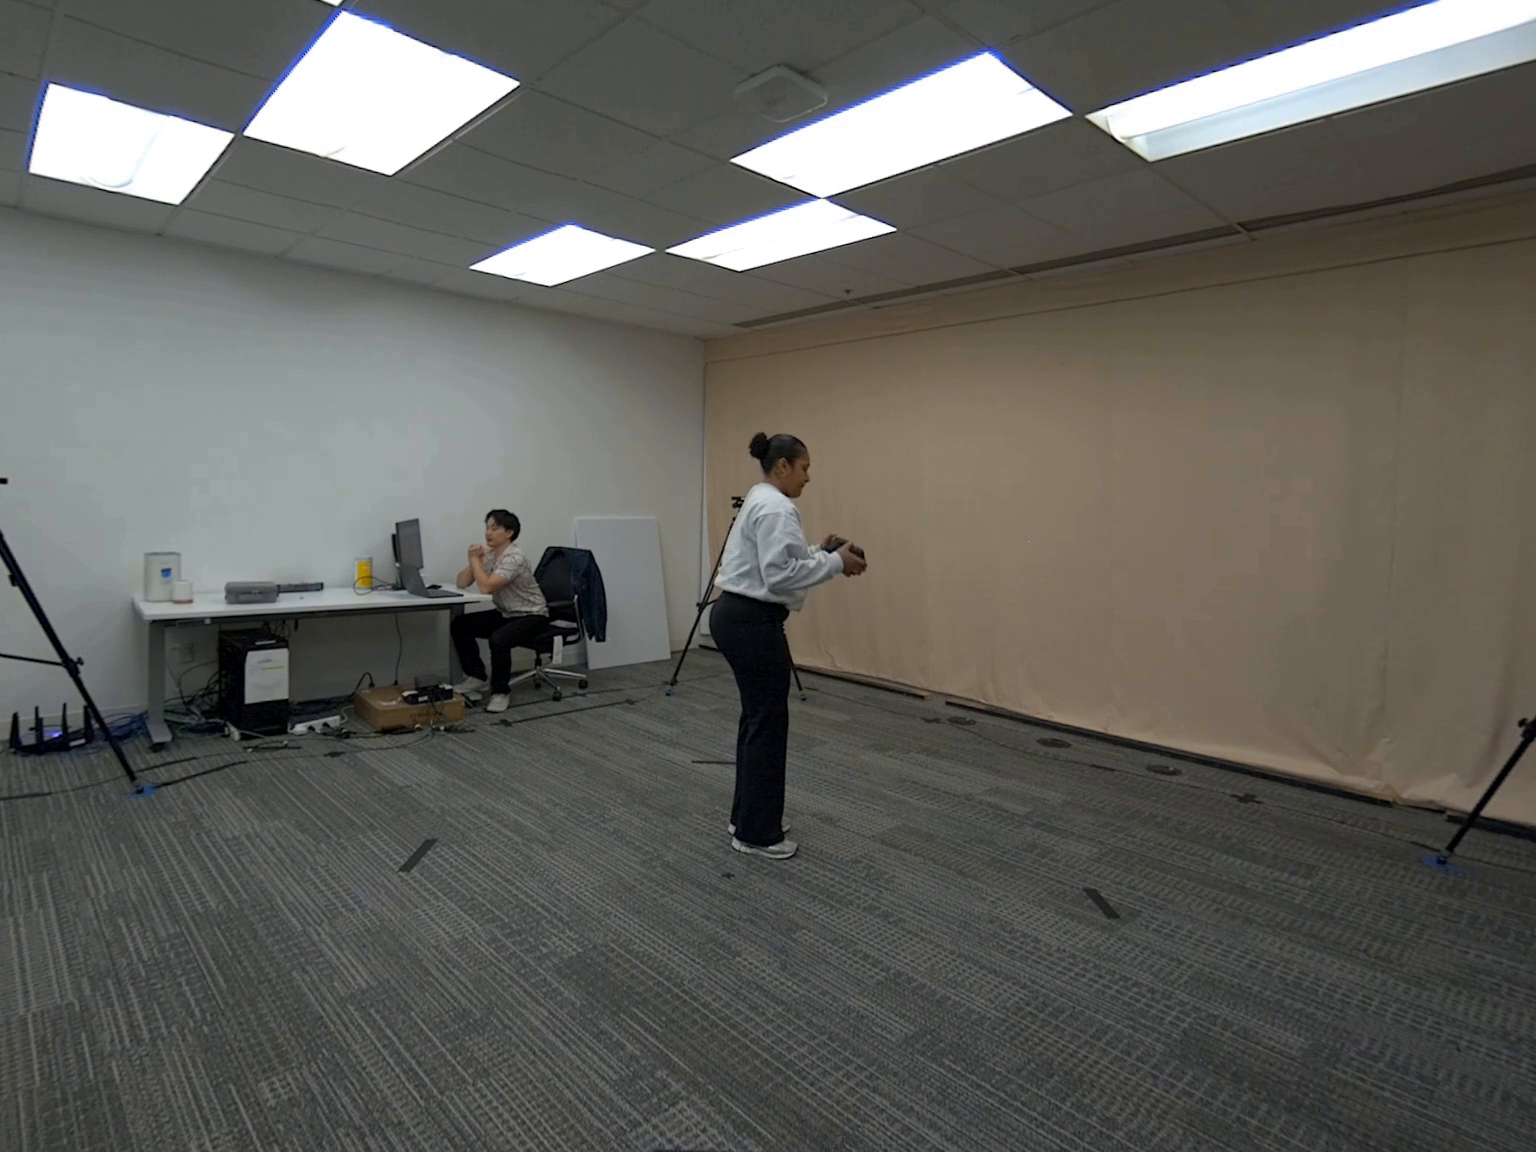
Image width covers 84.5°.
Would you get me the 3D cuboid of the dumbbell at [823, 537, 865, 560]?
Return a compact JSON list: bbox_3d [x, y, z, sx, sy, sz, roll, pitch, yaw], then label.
[{"bbox_3d":[0.269,-0.073,3.394,0.109,0.123,0.293,39,11,1],"label":"dumbbell"}]
